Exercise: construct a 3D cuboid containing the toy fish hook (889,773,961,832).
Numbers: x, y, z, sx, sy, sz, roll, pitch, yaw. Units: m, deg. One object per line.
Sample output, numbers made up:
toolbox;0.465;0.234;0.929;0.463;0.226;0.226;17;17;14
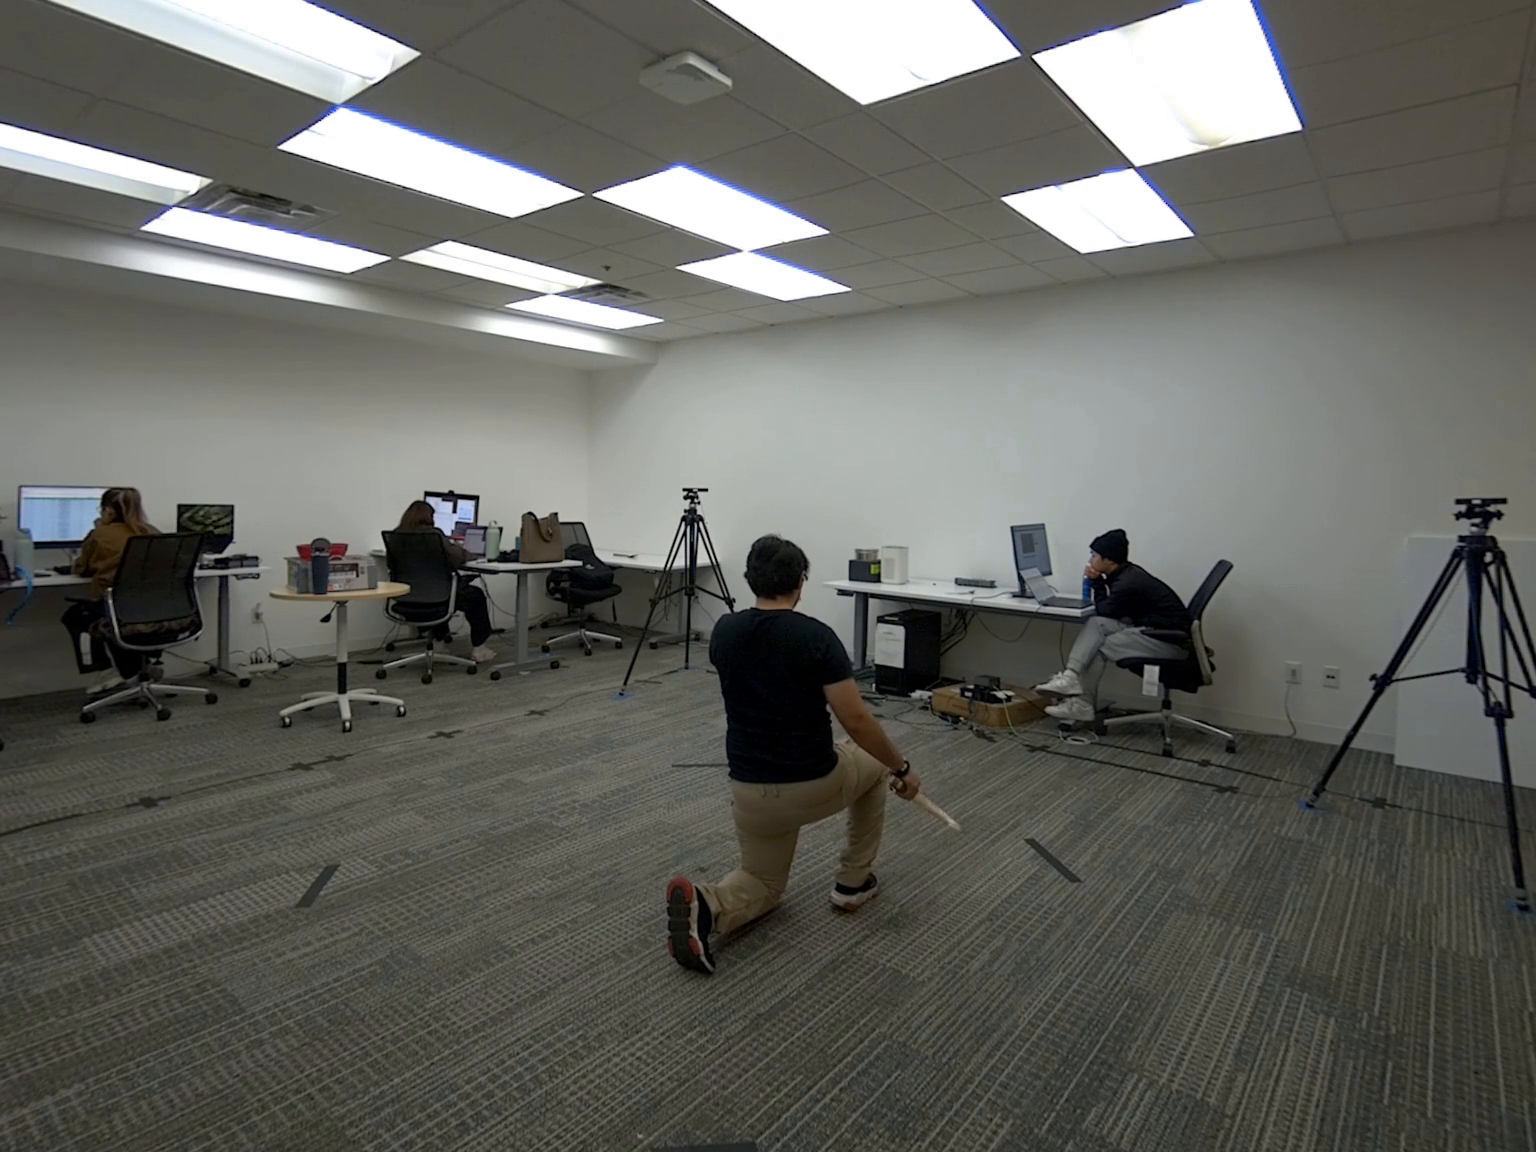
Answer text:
toy fish hook;0.519;0.762;2.832;0.233;0.048;0.486;30;-8;33
